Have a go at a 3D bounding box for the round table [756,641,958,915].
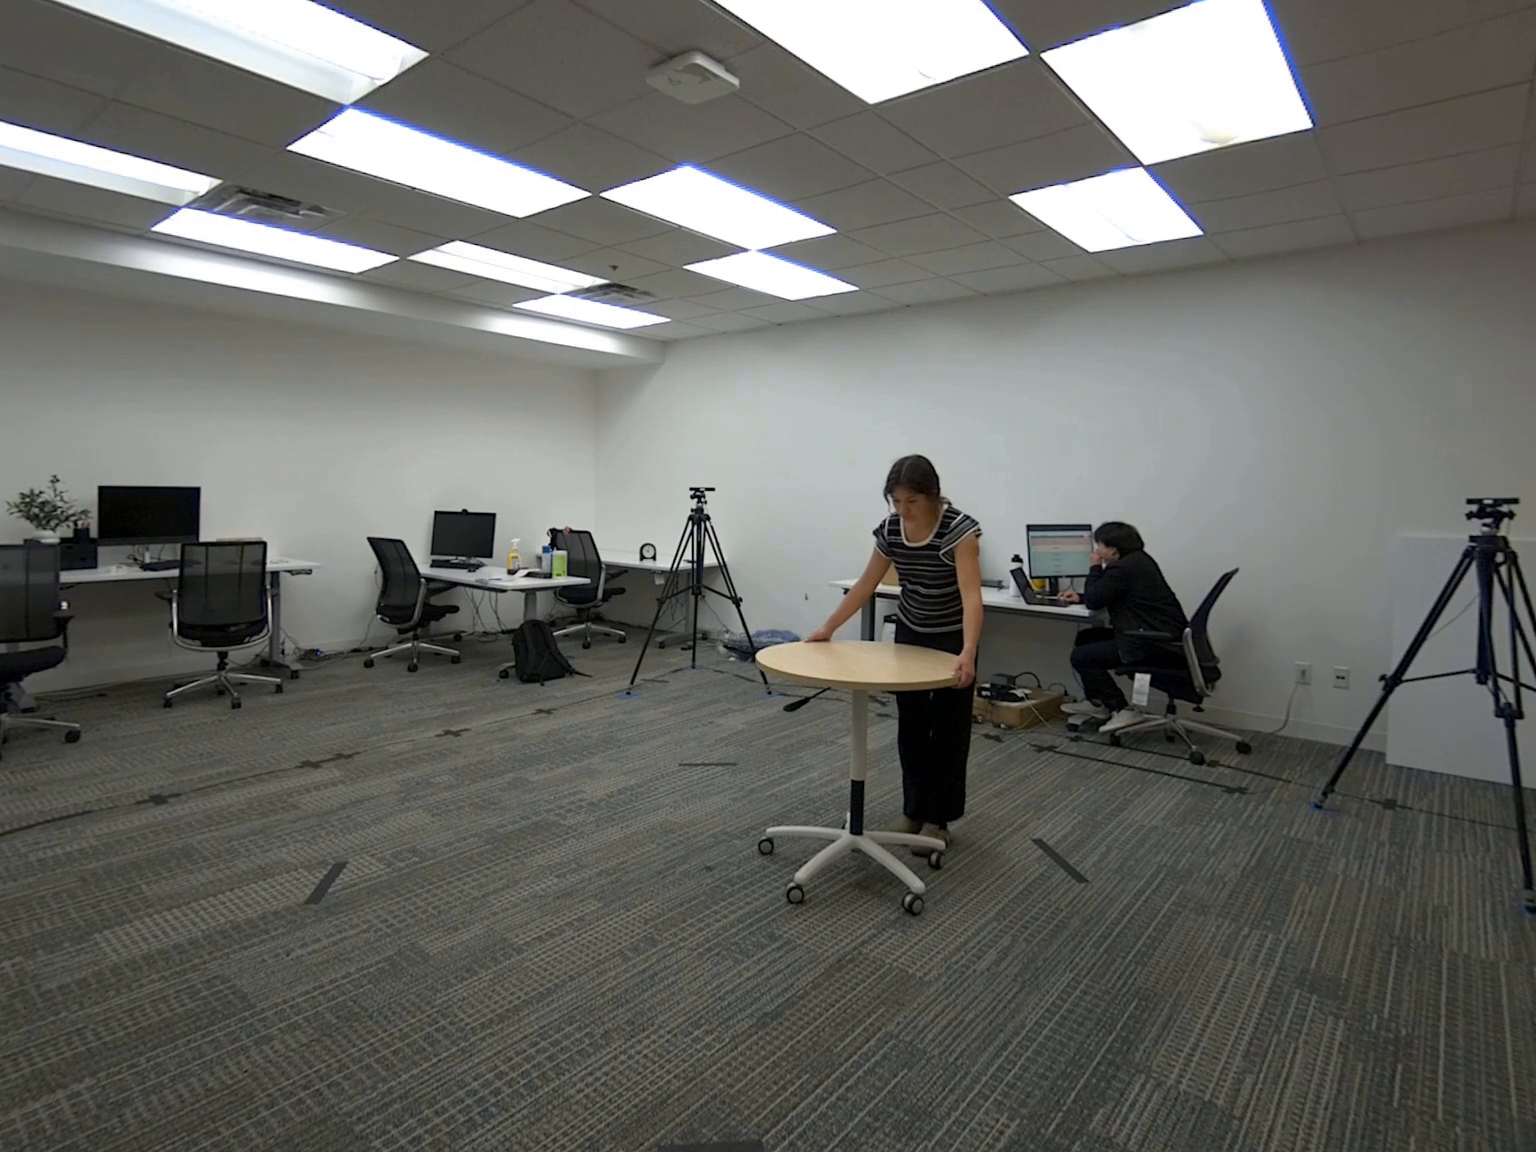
[{"bbox_3d":[0.314,0.691,3.101,0.763,0.791,0.768,1,4,-2],"label":"round table"}]
